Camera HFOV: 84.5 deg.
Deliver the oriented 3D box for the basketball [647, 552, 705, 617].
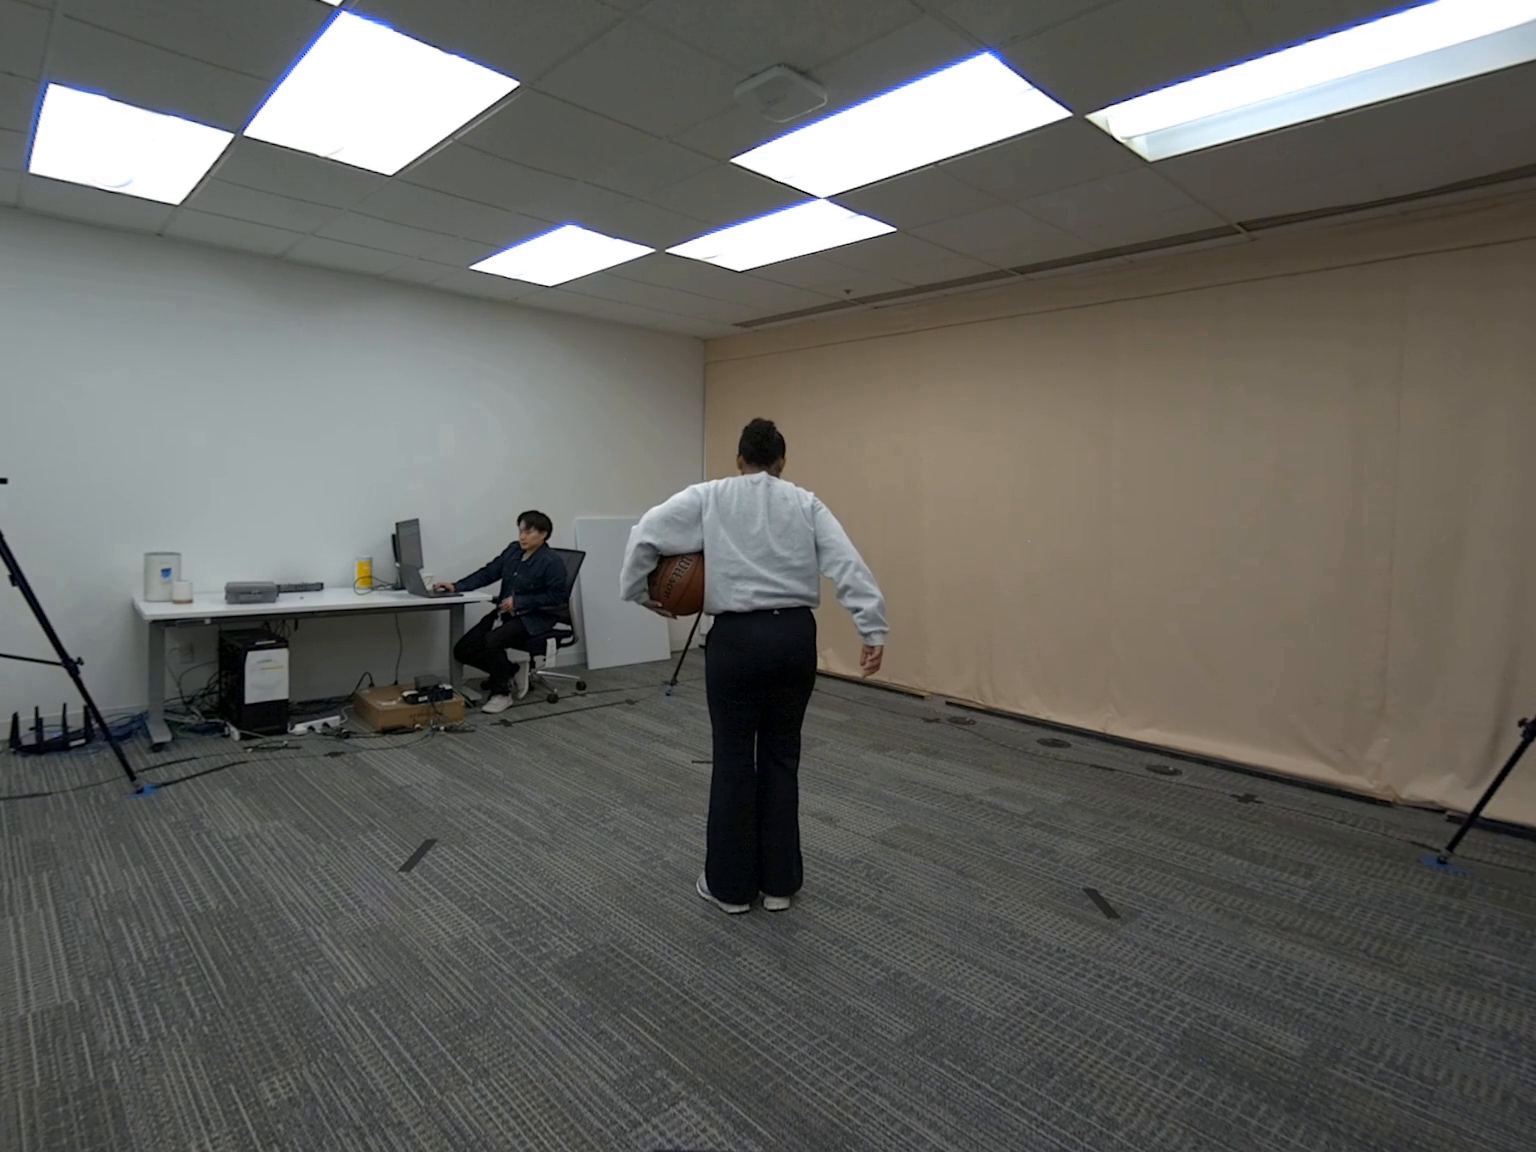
[{"bbox_3d":[-0.285,0.019,2.810,0.236,0.235,0.237,1,4,-1],"label":"basketball"}]
